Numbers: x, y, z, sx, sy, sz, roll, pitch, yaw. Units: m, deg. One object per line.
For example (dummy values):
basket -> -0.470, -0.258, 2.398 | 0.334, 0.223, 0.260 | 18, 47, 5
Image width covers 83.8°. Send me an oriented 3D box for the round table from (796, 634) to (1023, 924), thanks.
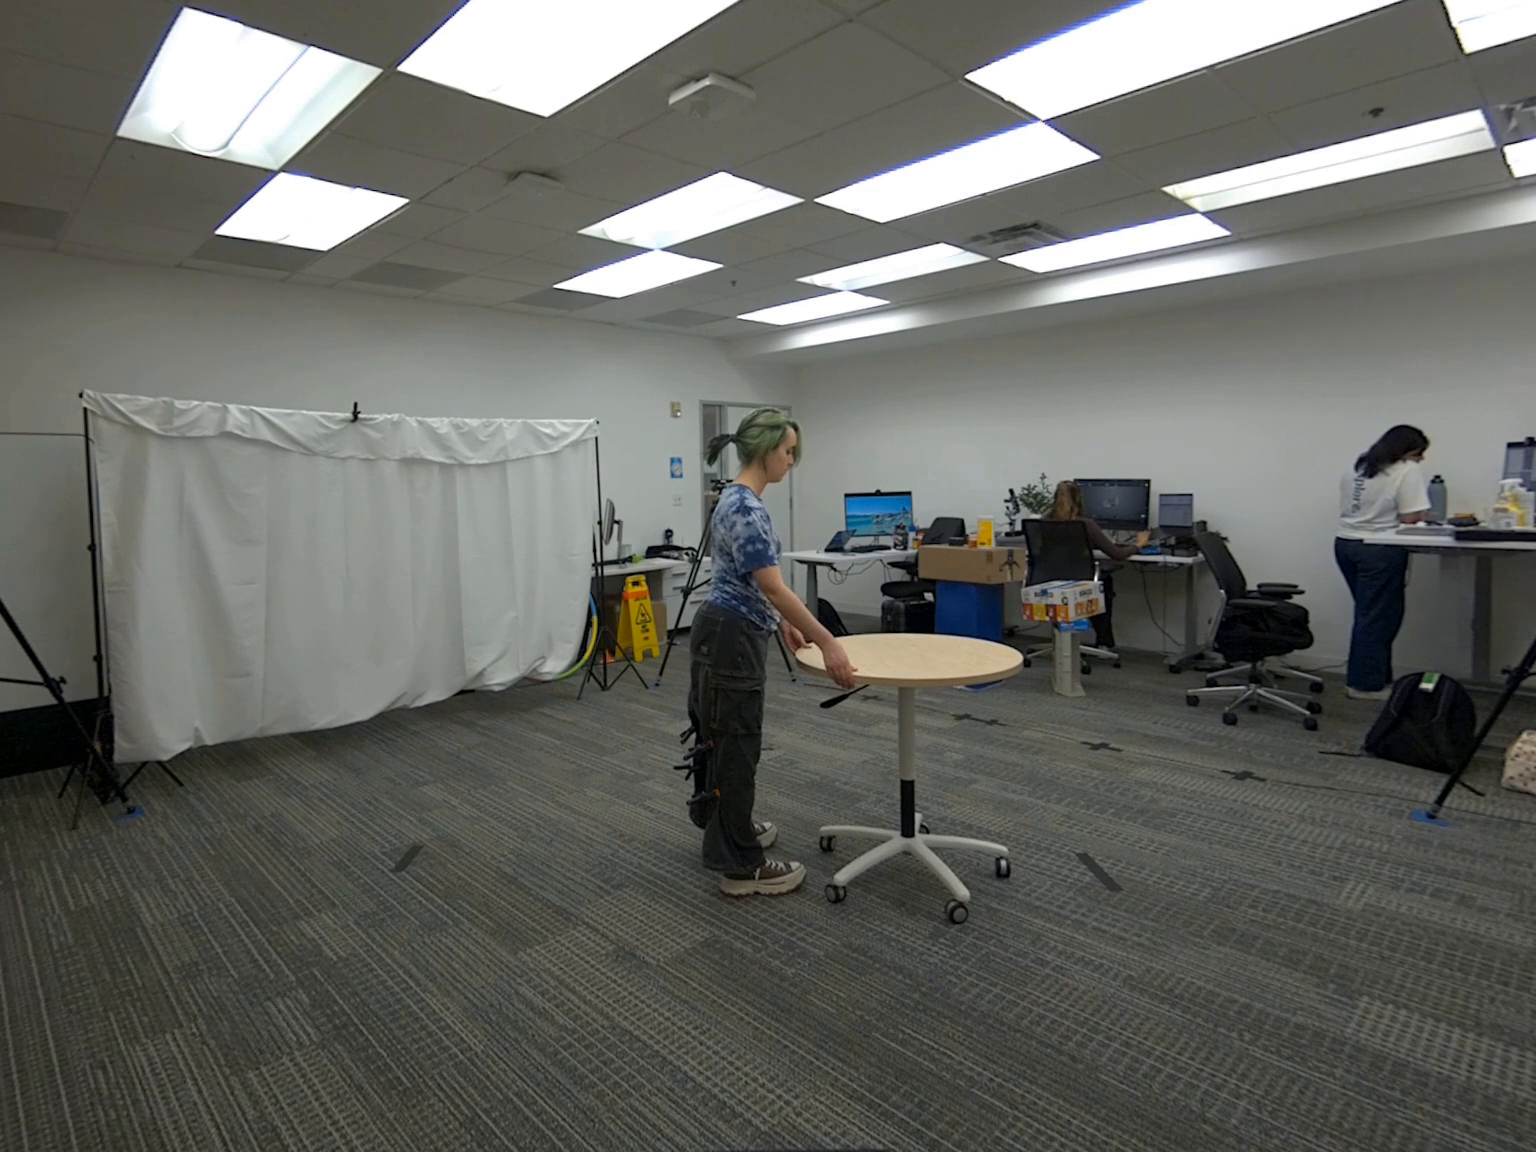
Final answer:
round table -> 0.486, 0.661, 2.975 | 0.763, 0.791, 0.768 | -1, 5, -2
